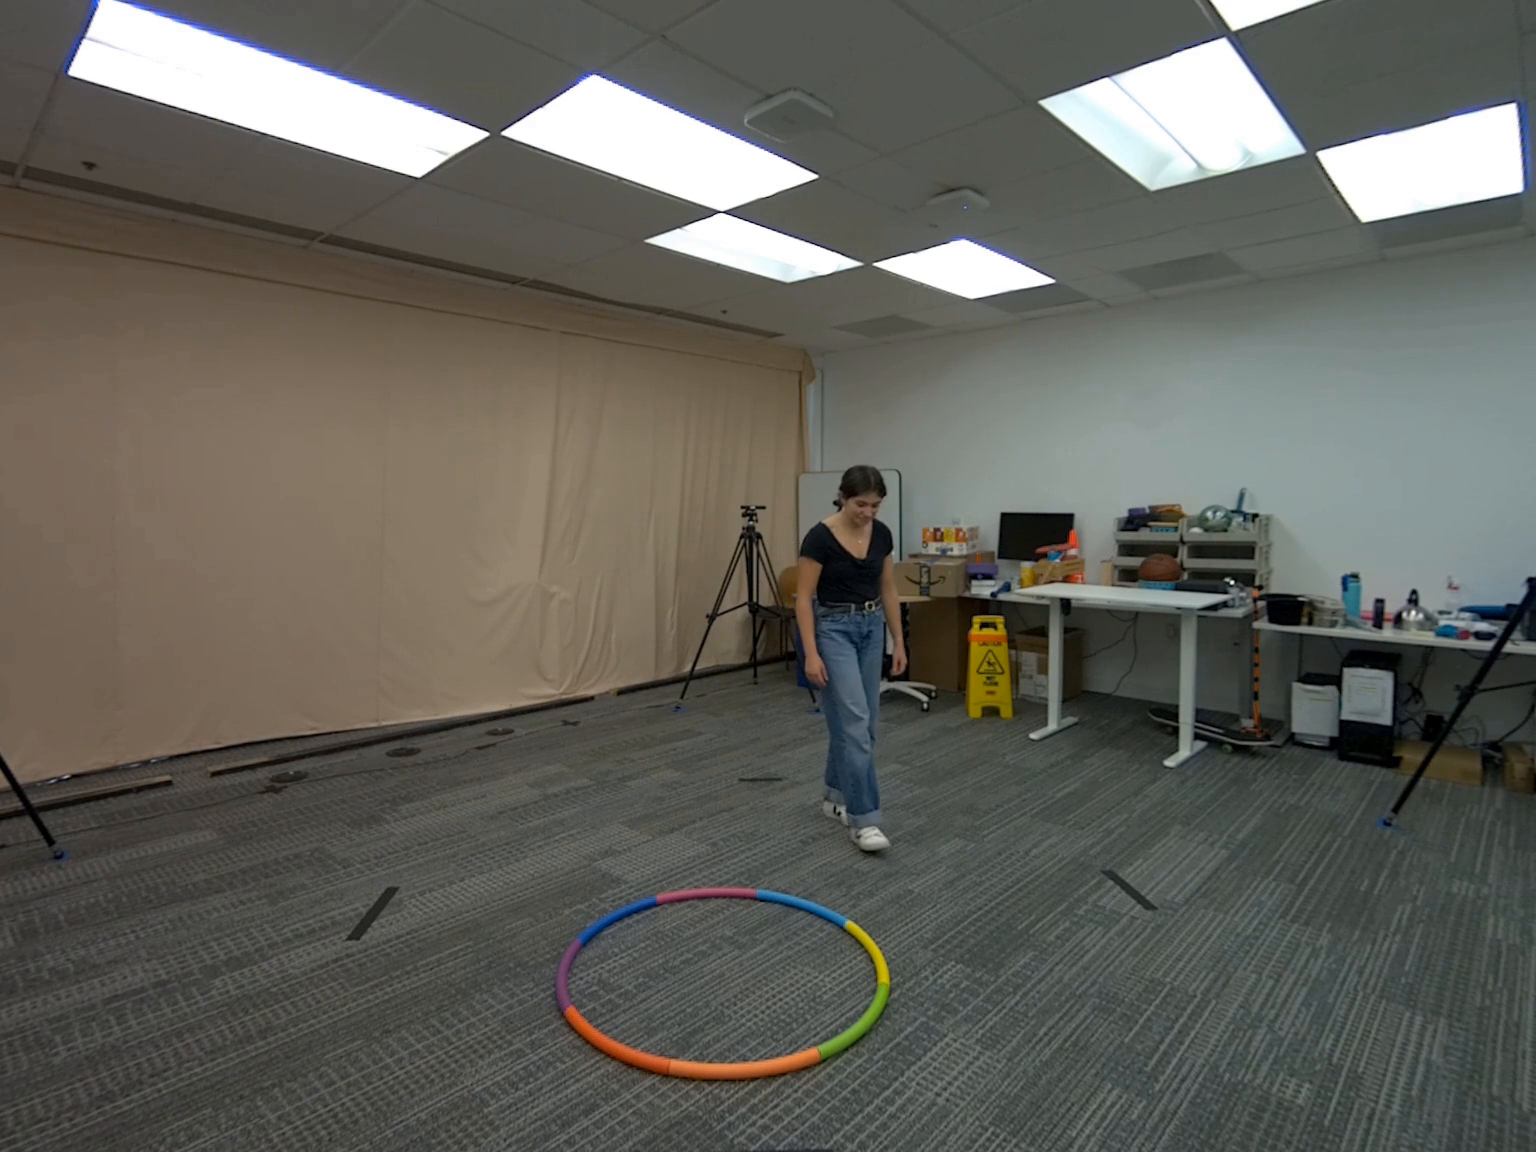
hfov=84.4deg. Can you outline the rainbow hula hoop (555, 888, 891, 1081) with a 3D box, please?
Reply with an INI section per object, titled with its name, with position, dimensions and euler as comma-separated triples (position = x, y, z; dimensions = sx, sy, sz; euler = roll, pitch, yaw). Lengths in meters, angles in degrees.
[rainbow hula hoop]
position = -0.129, 1.155, 2.524
dimensions = 0.978, 0.035, 0.982
euler = -1, 4, -2
